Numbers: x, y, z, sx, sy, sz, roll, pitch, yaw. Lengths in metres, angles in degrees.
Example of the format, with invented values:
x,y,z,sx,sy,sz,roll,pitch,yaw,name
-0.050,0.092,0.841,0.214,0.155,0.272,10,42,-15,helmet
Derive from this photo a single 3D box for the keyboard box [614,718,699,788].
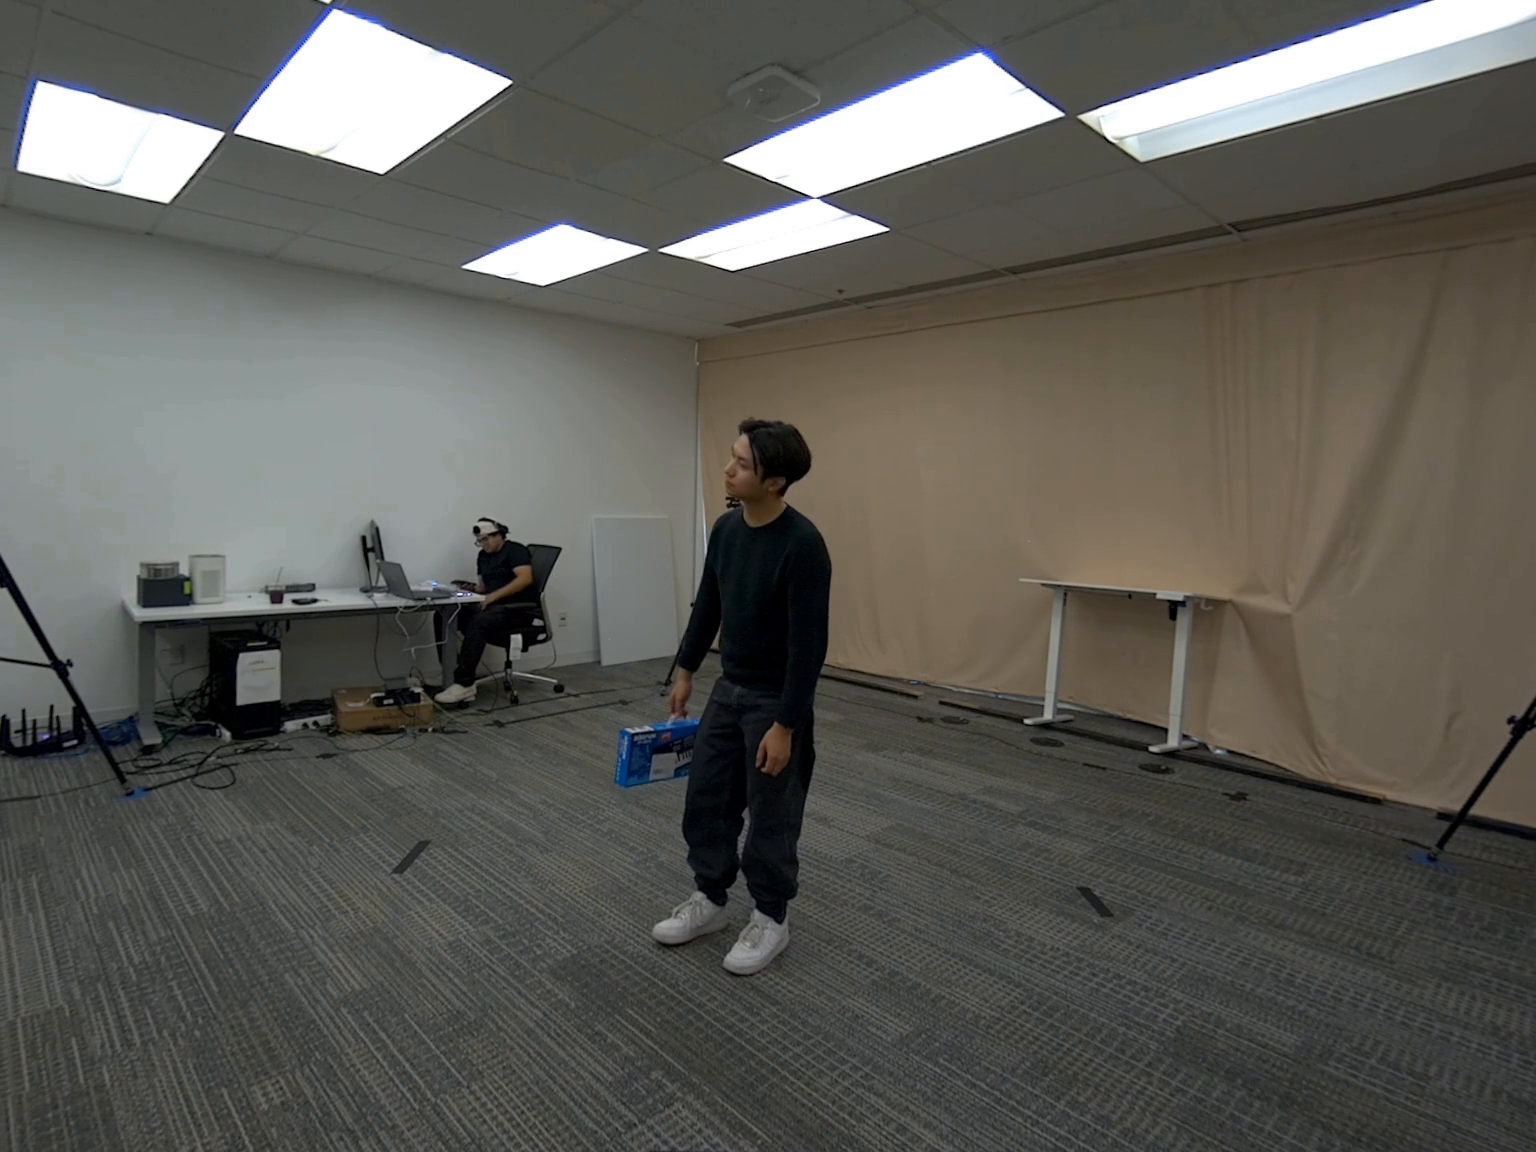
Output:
x,y,z,sx,sy,sz,roll,pitch,yaw,name
-0.303,0.575,2.749,0.061,0.175,0.426,9,5,44,keyboard box
